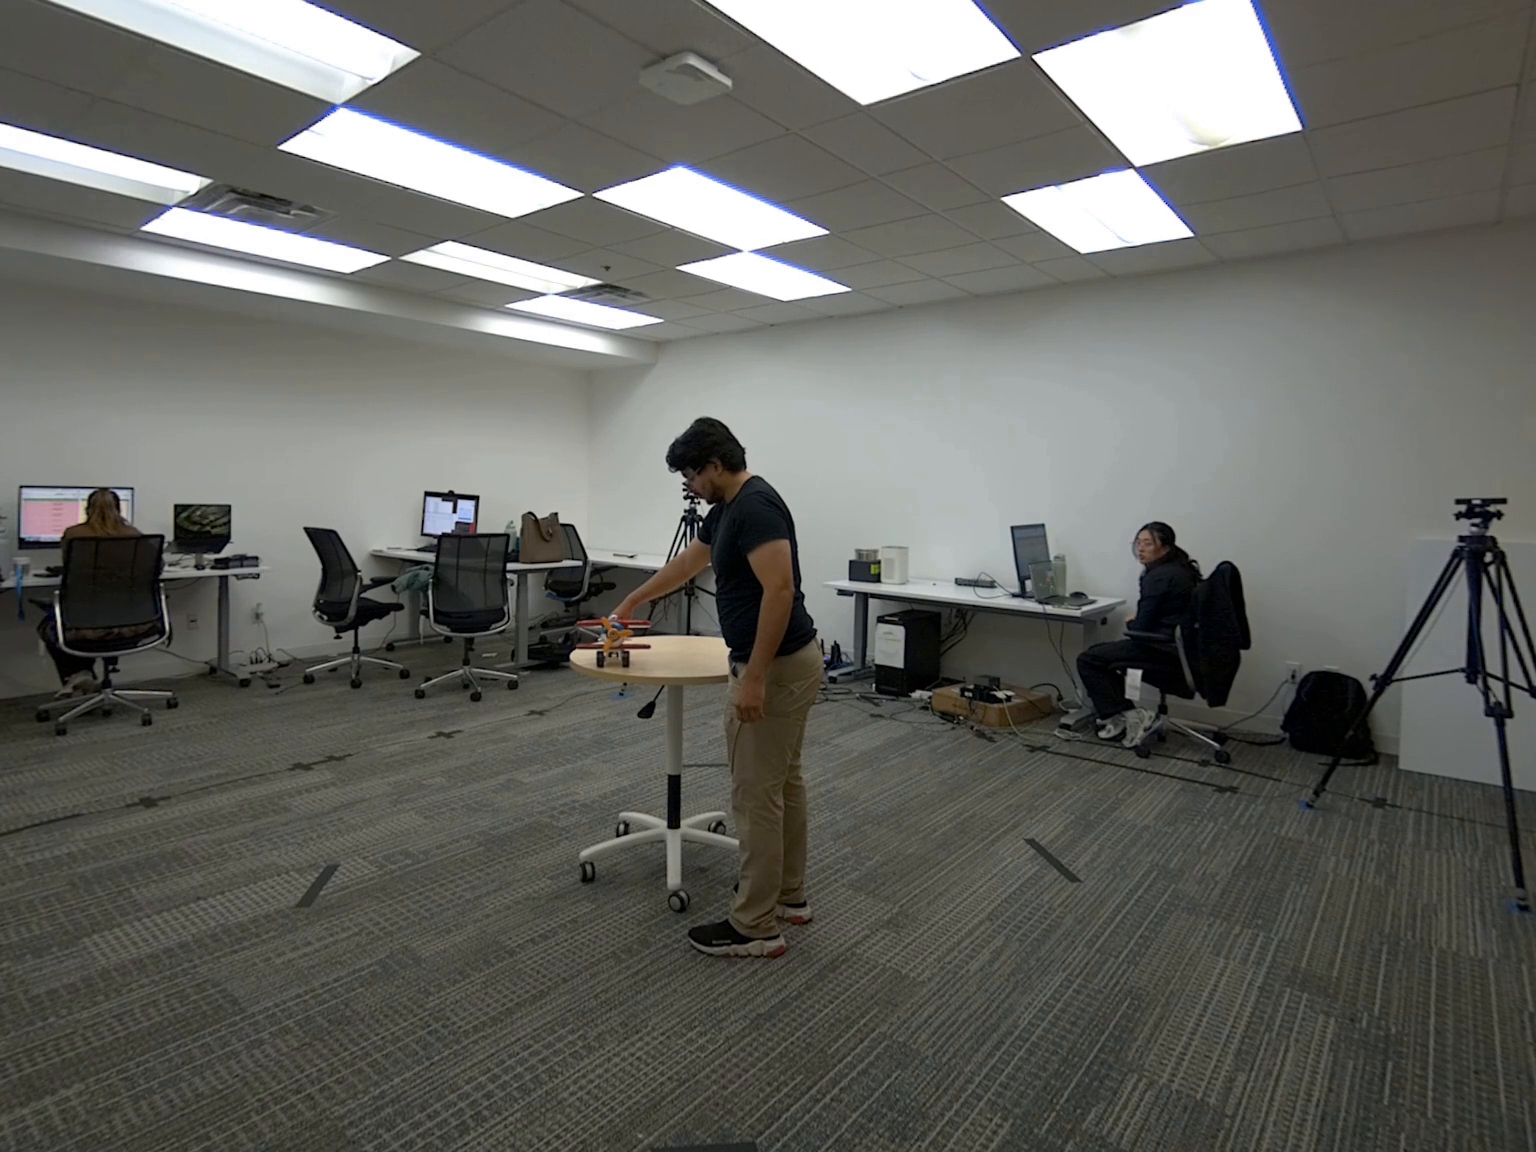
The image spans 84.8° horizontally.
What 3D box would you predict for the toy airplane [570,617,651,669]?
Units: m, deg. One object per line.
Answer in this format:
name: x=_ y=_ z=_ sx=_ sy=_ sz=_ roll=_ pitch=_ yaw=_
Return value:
toy airplane: x=-0.564 y=0.223 z=2.959 sx=0.244 sy=0.155 sz=0.268 roll=-4 pitch=8 yaw=-33
